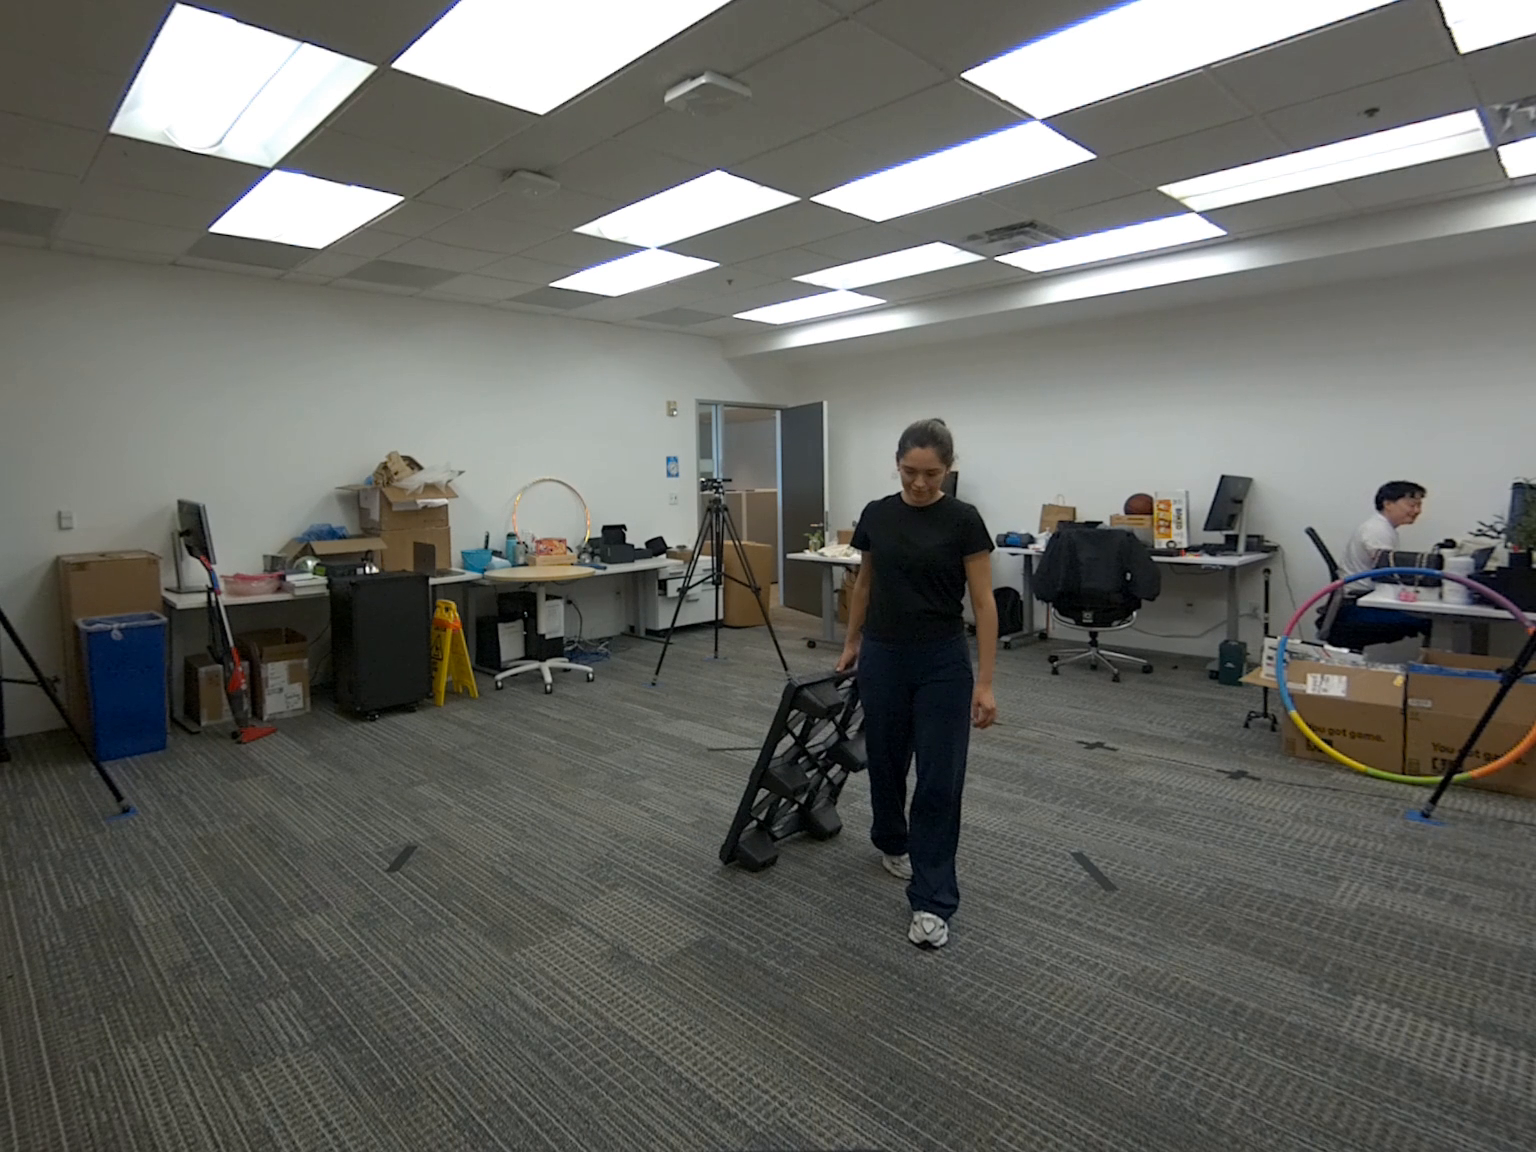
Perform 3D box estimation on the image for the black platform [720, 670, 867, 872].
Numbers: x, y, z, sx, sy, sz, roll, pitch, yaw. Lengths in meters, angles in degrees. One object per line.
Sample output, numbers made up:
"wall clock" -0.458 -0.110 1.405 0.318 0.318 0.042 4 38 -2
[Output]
"black platform" 0.180 0.678 3.101 0.589 0.796 0.149 -6 34 -46
